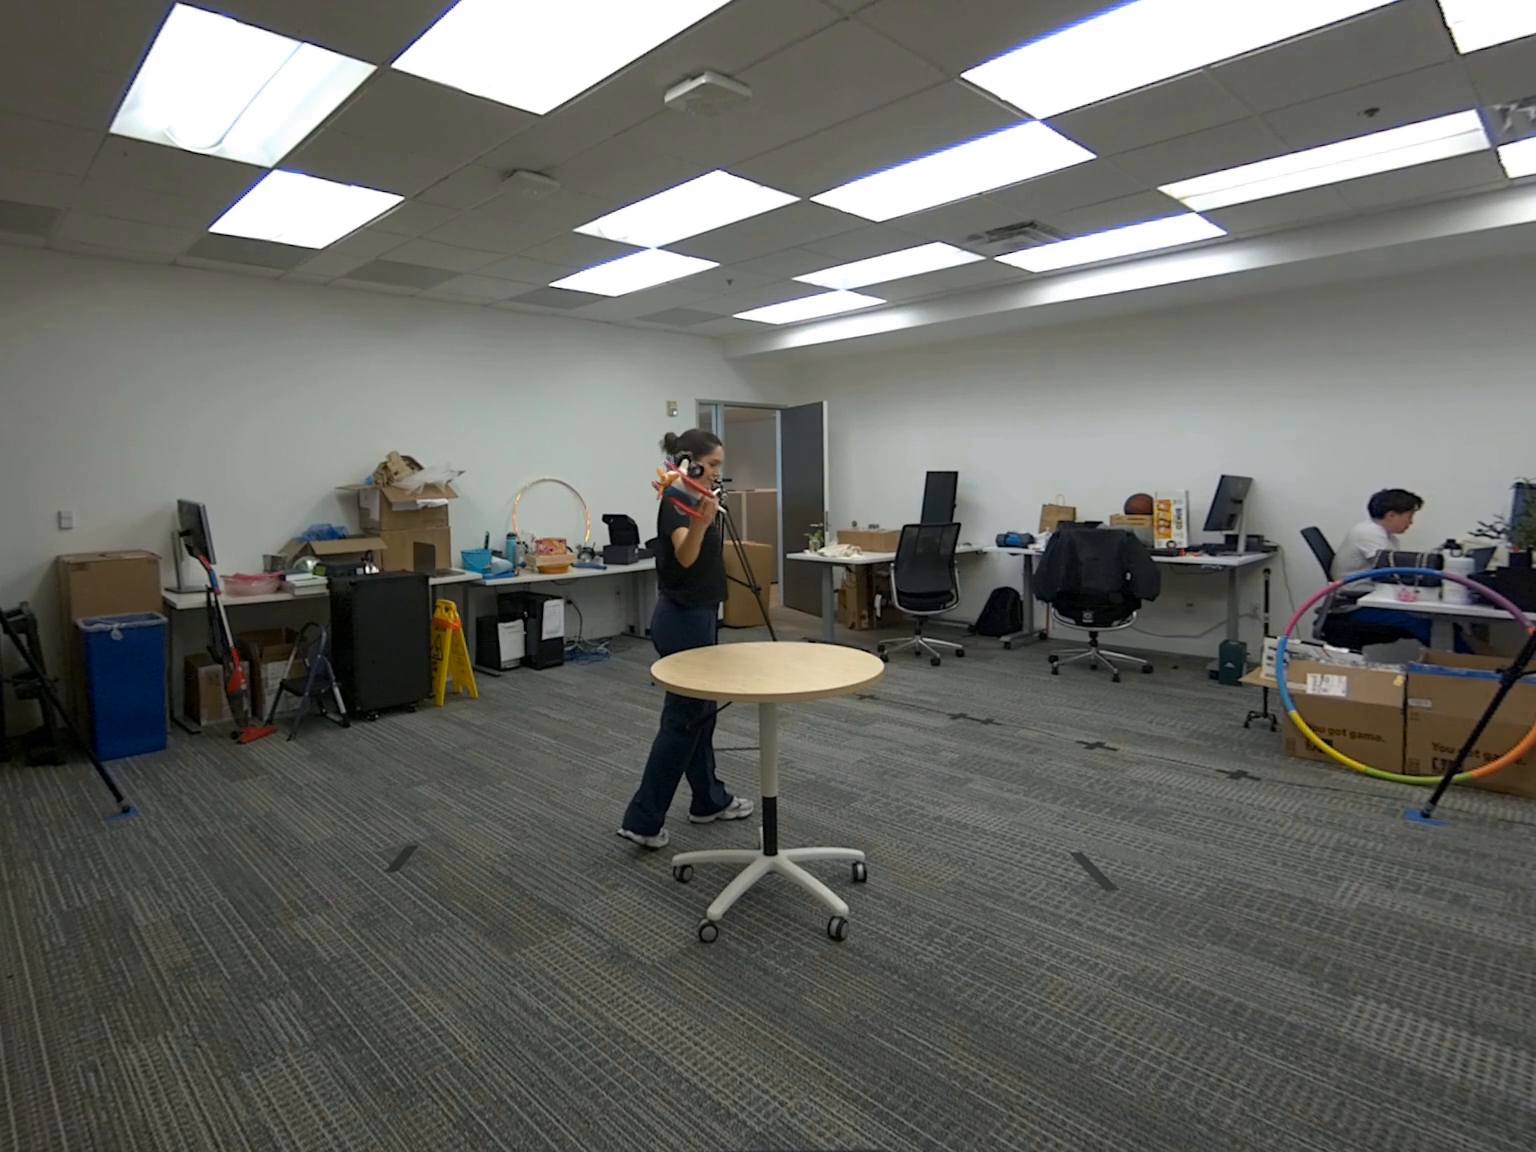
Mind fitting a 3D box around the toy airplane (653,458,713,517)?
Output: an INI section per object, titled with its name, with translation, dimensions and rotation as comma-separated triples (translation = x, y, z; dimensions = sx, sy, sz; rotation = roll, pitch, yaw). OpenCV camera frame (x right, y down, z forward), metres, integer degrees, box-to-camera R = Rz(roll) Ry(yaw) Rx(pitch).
[toy airplane]
translation = -0.236, -0.267, 2.801
dimensions = 0.254, 0.156, 0.257
rotation = 44, -2, -18
